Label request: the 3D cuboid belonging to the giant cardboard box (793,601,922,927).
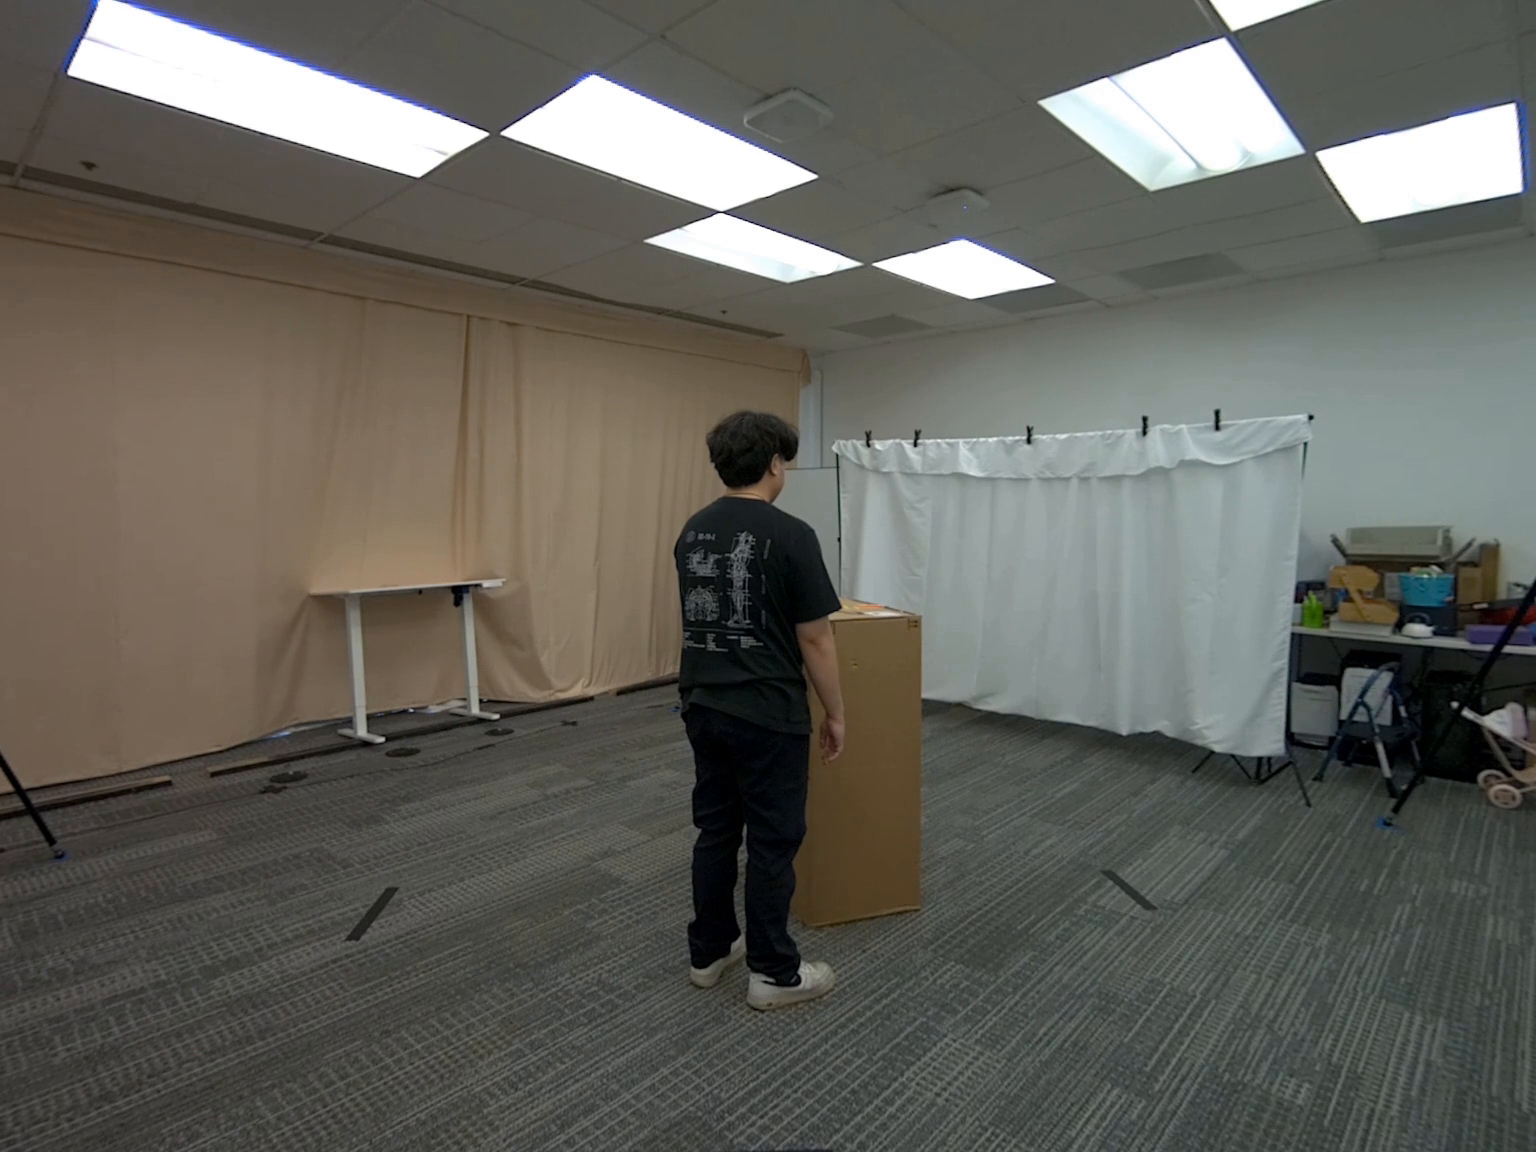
[{"bbox_3d":[0.229,0.623,3.079,0.438,1.025,0.597,-1,3,-21],"label":"giant cardboard box"}]
